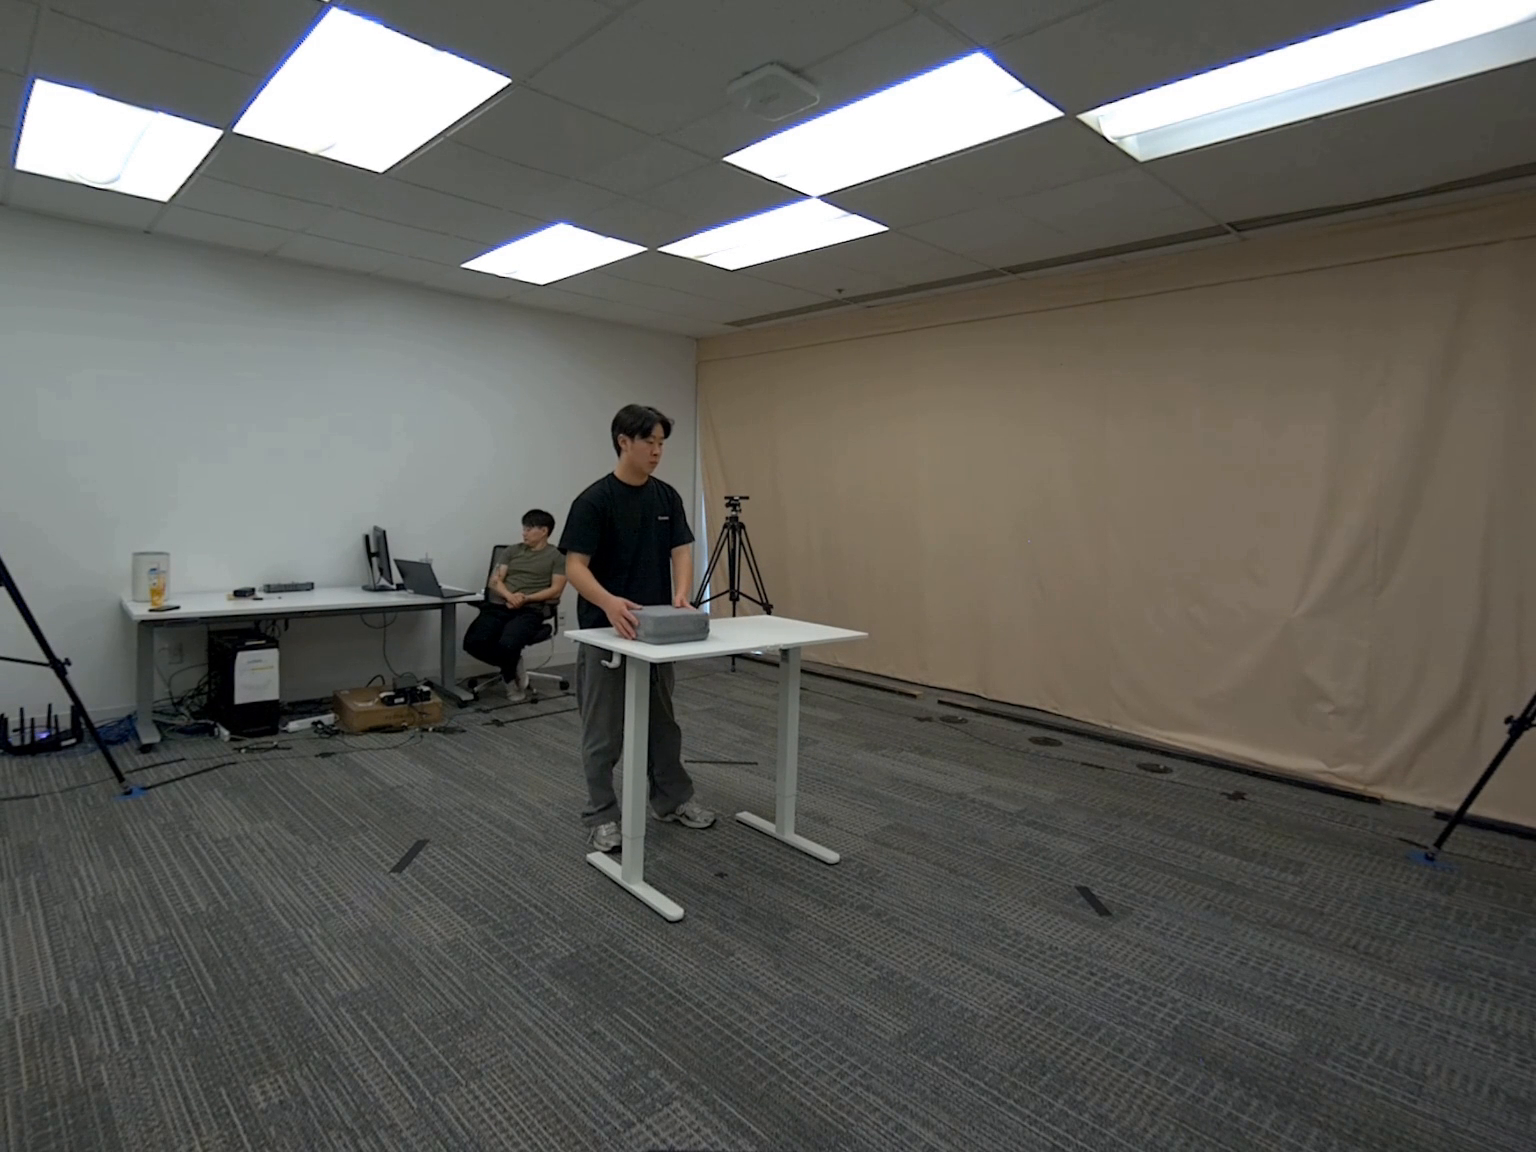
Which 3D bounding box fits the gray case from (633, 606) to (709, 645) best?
[{"bbox_3d":[-0.364,0.171,3.012,0.280,0.103,0.270,-3,6,-42],"label":"gray case"}]
